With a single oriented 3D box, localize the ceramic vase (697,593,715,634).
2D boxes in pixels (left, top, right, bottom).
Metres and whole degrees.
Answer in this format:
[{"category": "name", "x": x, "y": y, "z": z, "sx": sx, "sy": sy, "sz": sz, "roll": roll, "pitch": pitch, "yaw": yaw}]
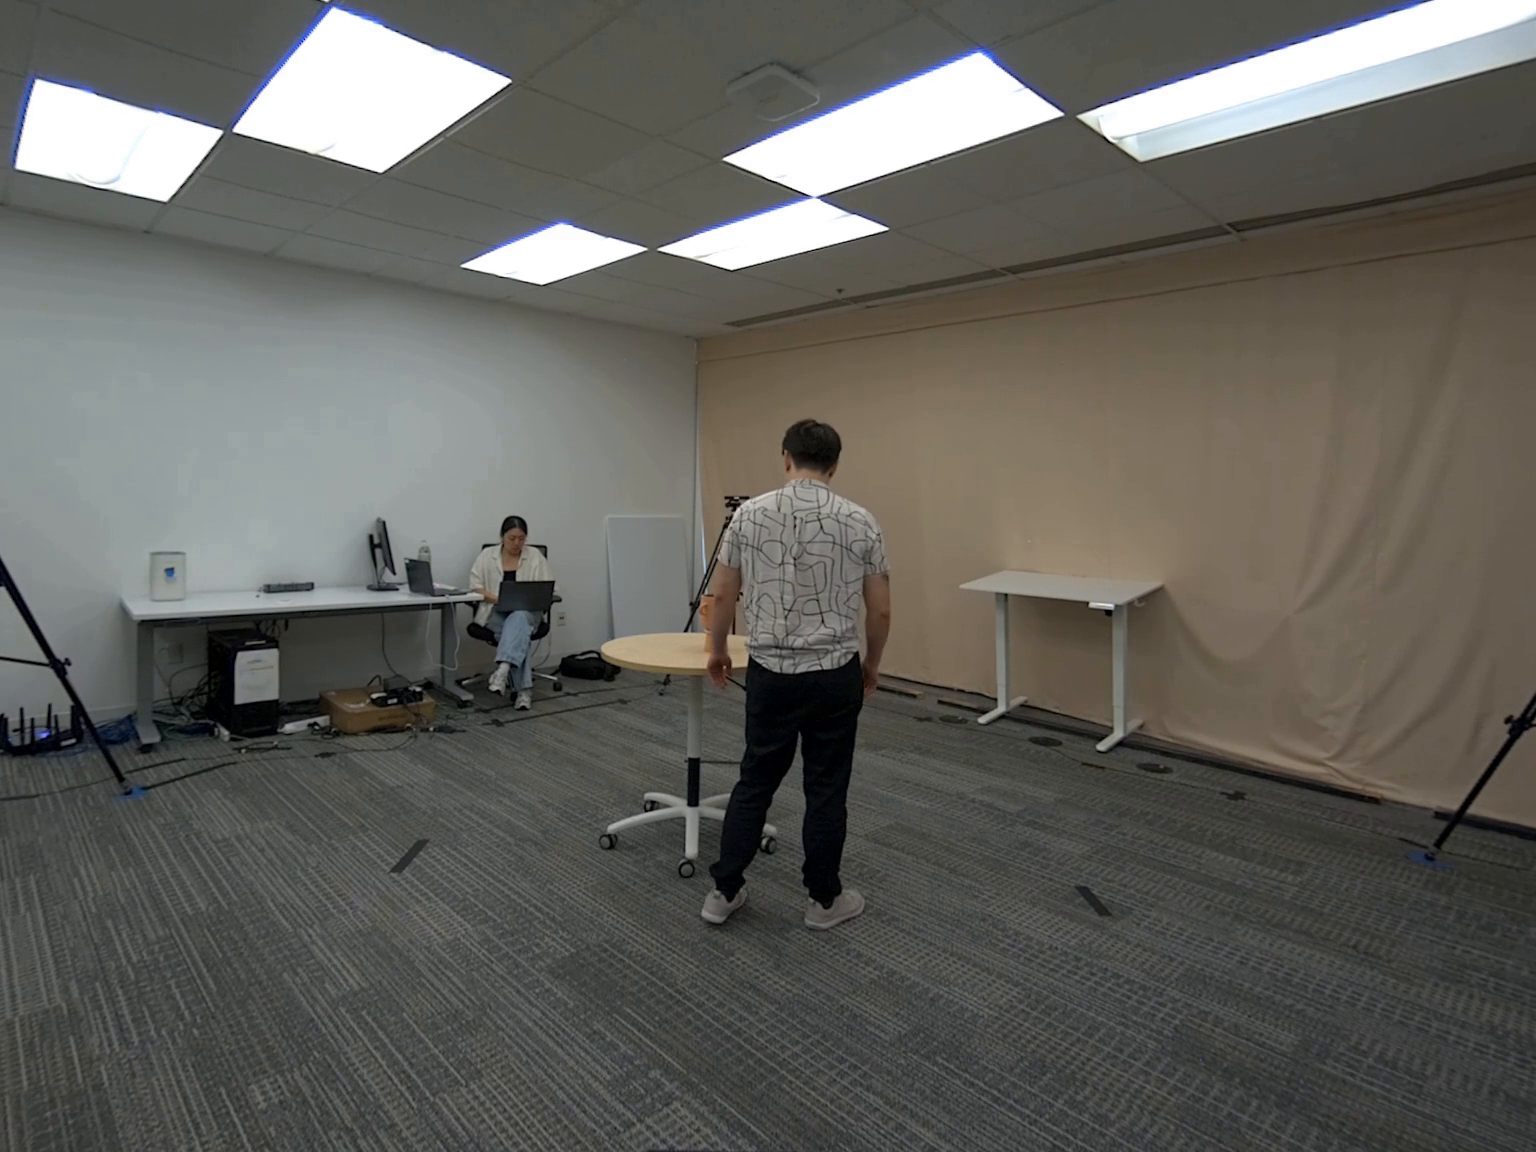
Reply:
[{"category": "ceramic vase", "x": -0.210, "y": 0.193, "z": 3.346, "sx": 0.157, "sy": 0.219, "sz": 0.136, "roll": 2, "pitch": 4, "yaw": -10}]
